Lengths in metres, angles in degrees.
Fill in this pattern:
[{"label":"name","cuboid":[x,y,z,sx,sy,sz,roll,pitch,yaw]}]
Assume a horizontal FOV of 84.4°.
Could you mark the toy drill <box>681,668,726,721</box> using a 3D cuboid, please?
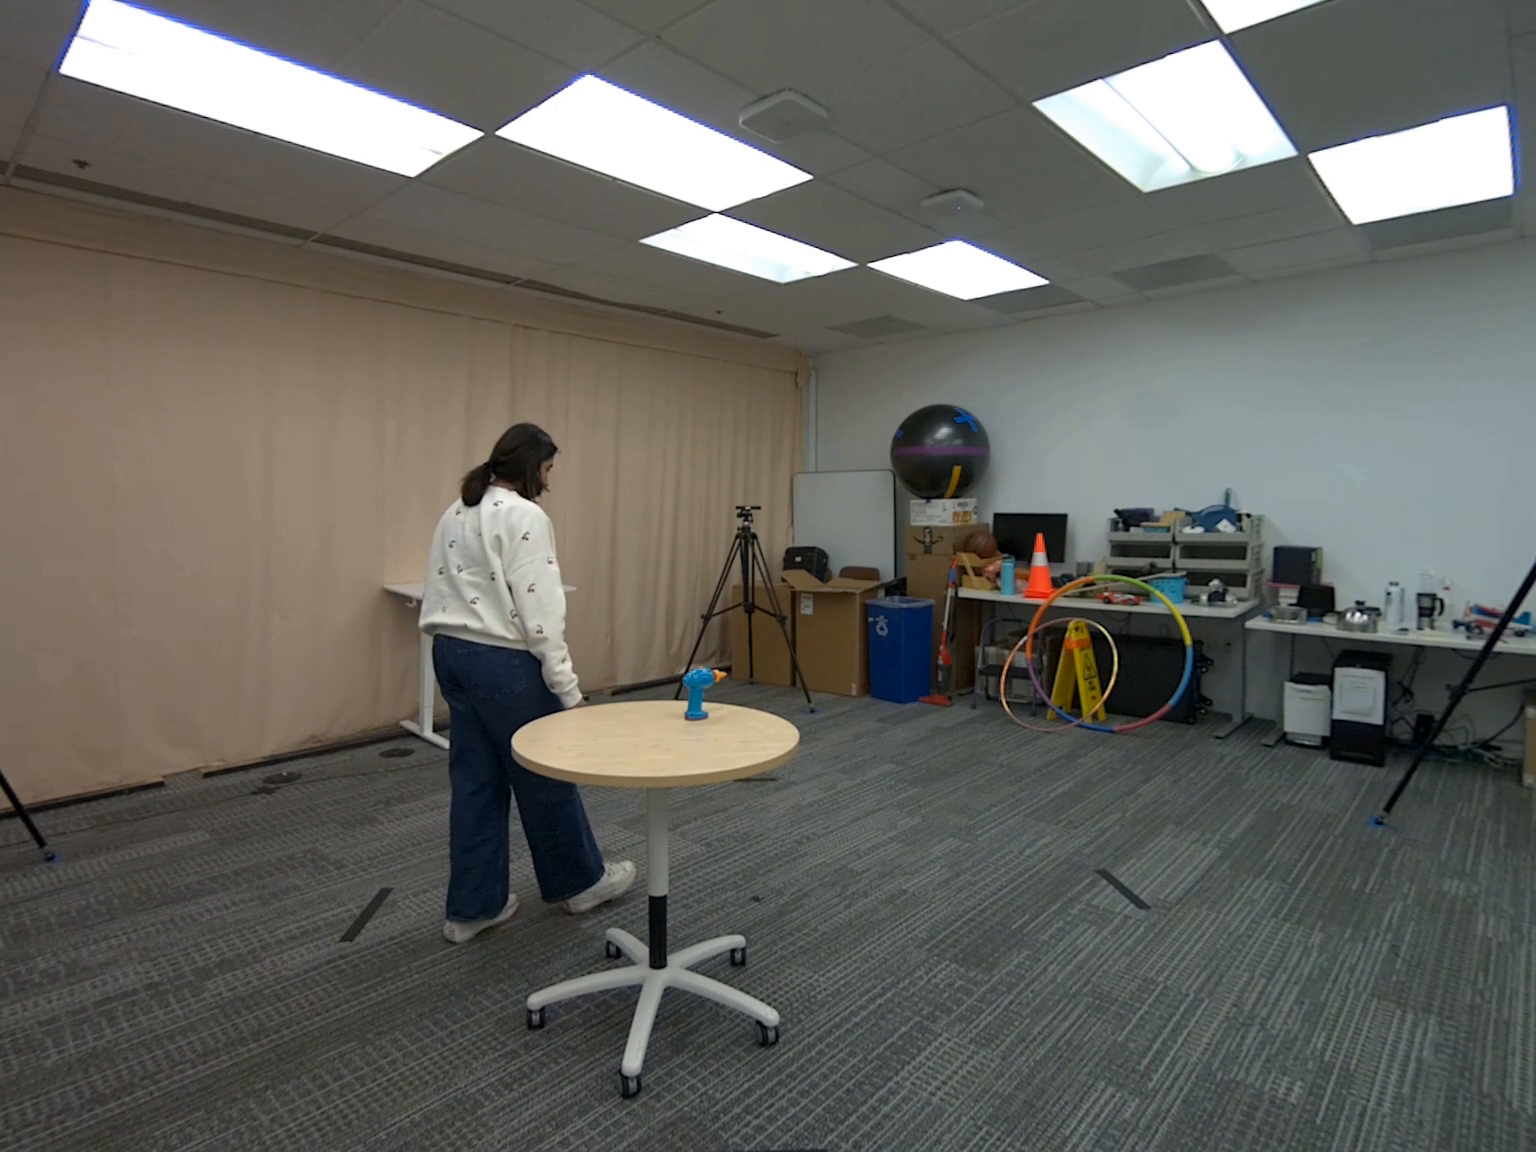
[{"label":"toy drill","cuboid":[-0.177,0.339,2.446,0.063,0.146,0.164,6,6,43]}]
